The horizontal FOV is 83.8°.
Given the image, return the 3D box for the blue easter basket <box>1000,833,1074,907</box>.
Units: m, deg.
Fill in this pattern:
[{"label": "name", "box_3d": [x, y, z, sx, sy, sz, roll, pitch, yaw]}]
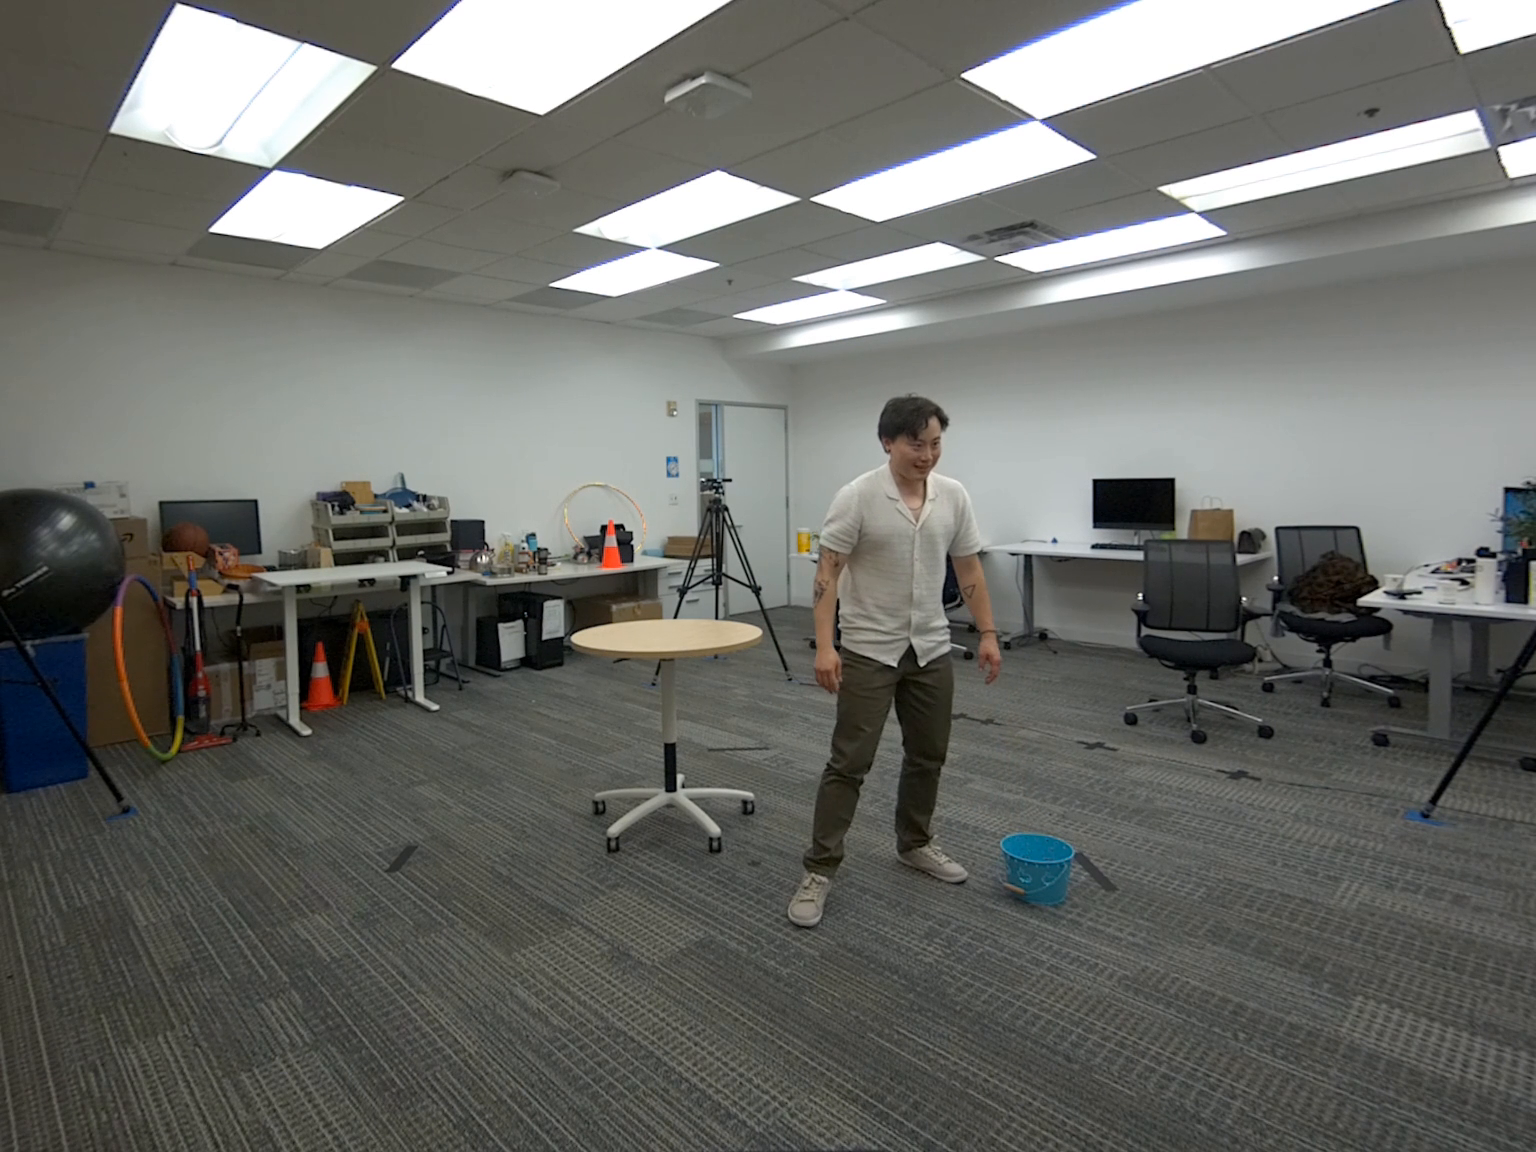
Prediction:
[{"label": "blue easter basket", "box_3d": [0.888, 0.976, 2.857, 0.243, 0.155, 0.245, -1, 6, -2]}]
